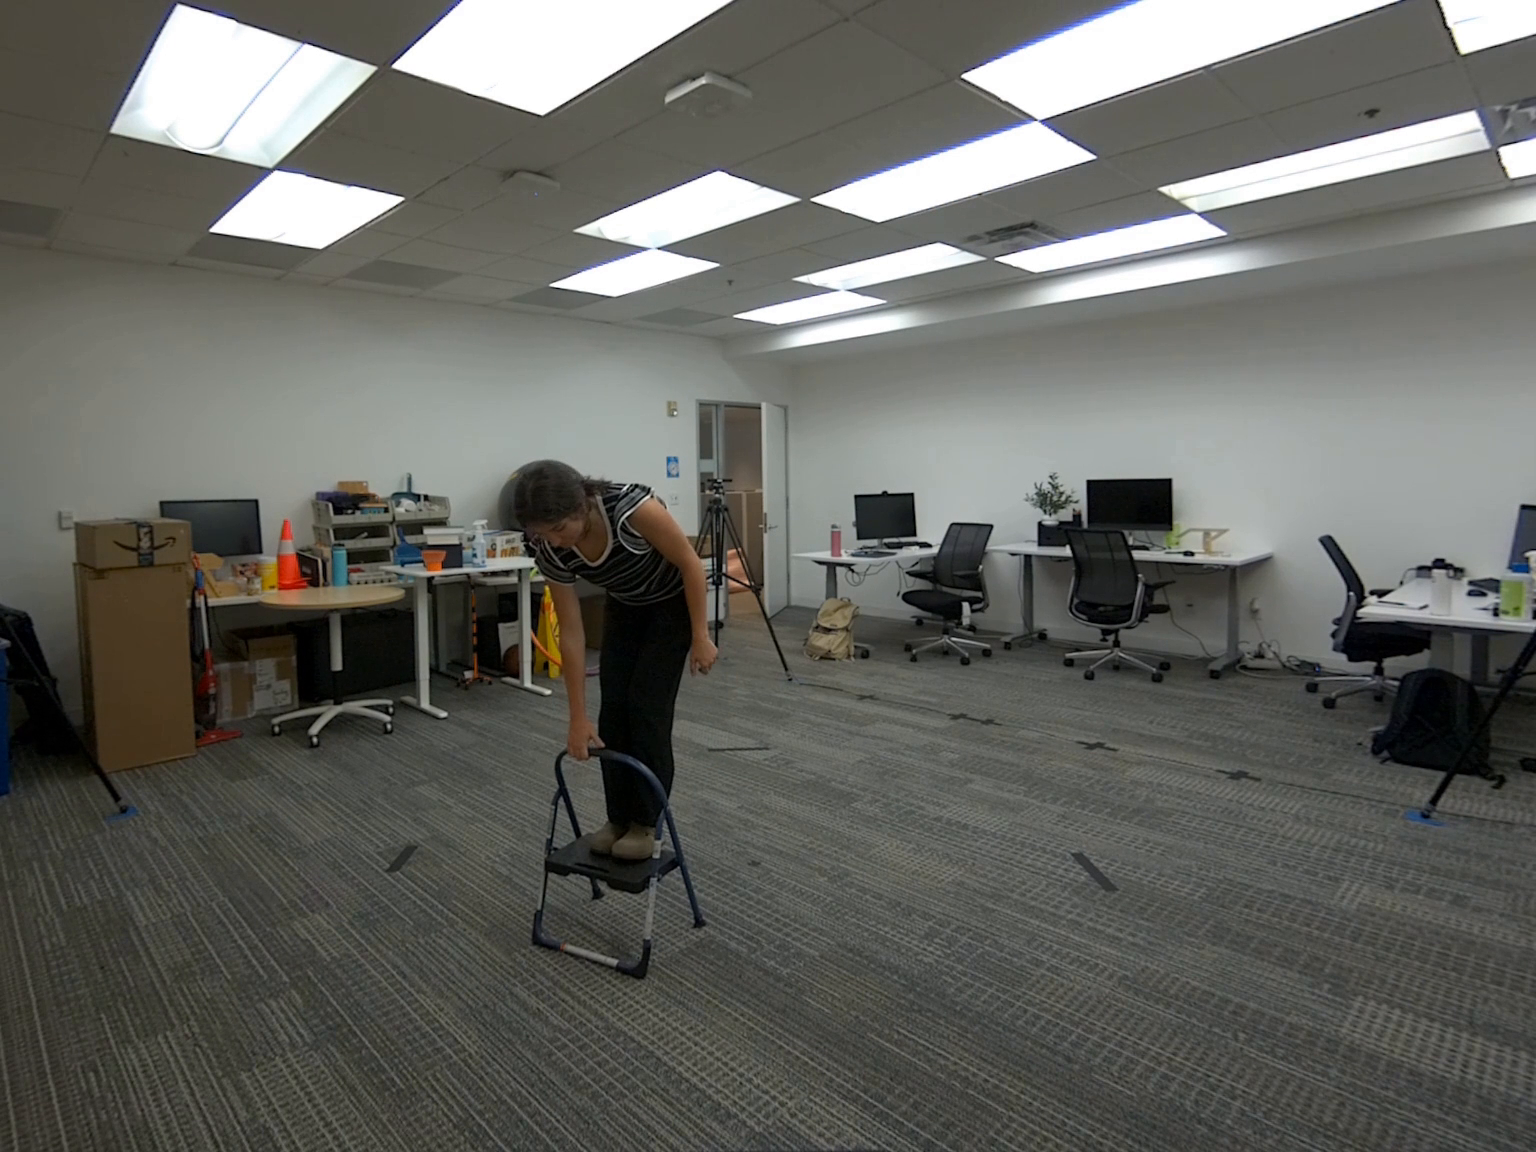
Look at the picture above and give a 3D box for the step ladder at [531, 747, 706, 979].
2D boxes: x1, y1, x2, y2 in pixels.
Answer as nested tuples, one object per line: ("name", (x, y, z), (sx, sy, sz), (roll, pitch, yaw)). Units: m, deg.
("step ladder", (-0.466, 0.809, 2.626), (0.441, 0.604, 0.342), (1, 5, 27))
